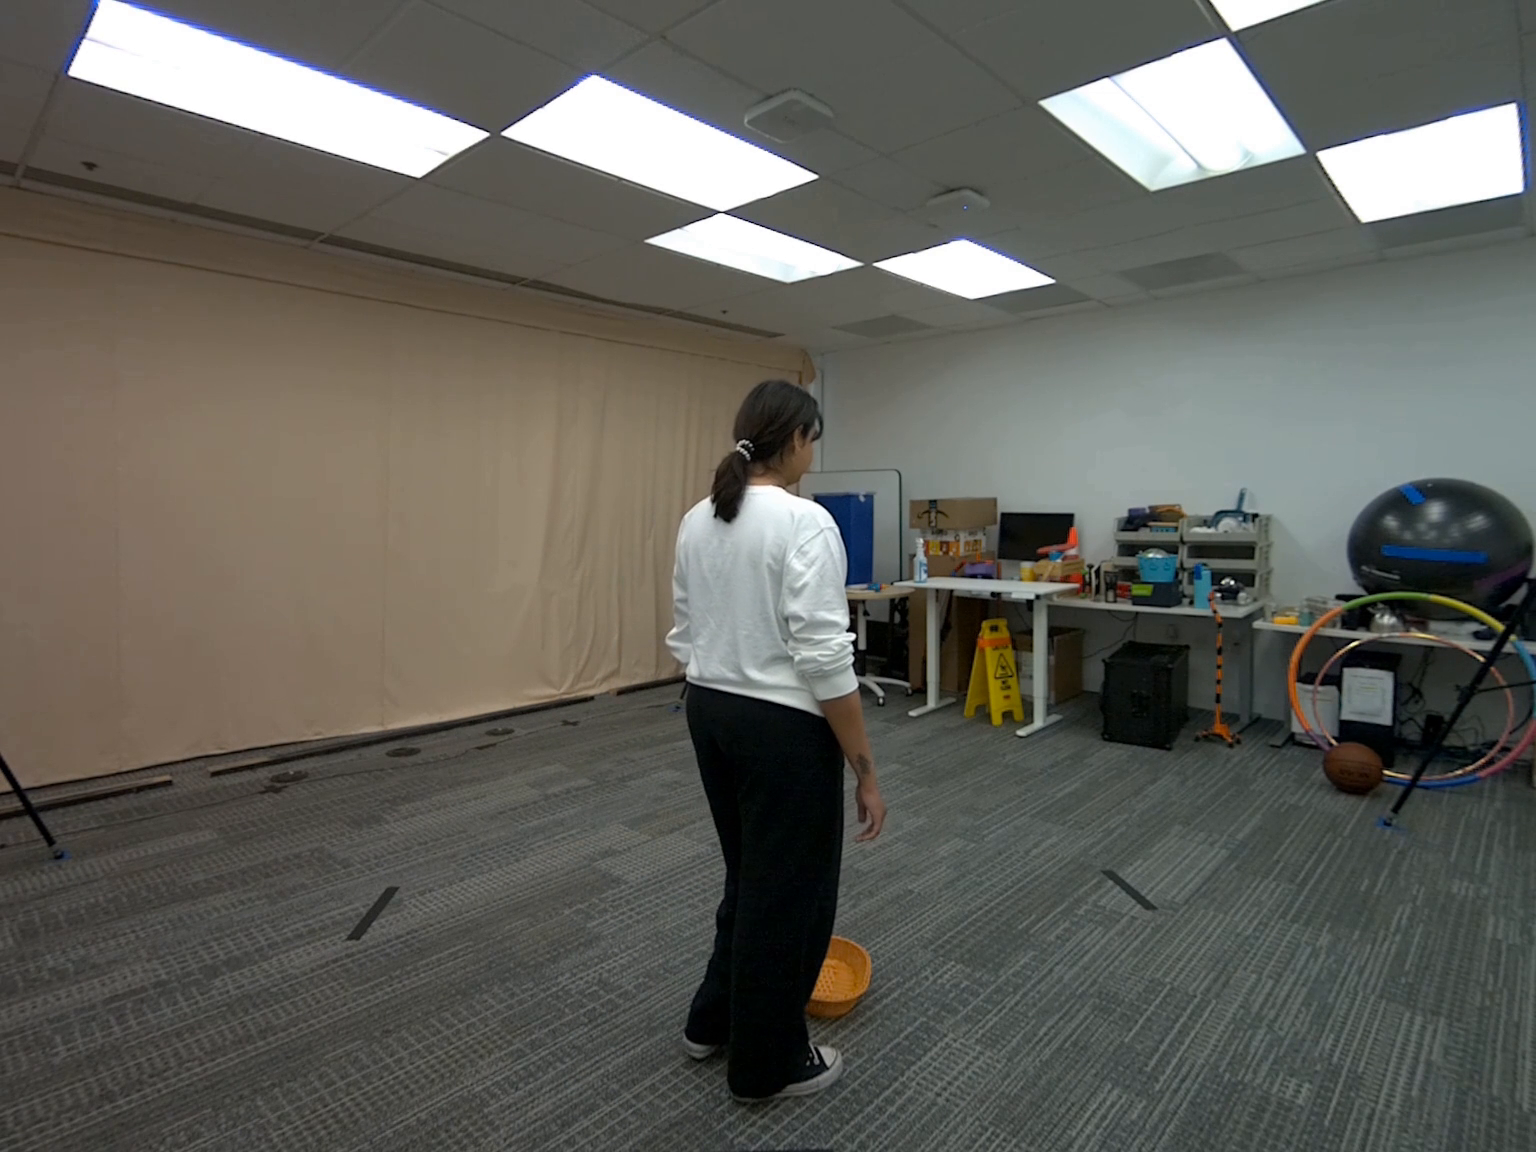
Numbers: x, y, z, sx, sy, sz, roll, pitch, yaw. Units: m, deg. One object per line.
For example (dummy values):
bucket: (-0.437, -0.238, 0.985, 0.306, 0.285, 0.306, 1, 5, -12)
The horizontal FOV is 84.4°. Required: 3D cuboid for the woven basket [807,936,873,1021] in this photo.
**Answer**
woven basket: (0.173, 1.149, 2.424, 0.256, 0.073, 0.346, 3, 5, 12)
